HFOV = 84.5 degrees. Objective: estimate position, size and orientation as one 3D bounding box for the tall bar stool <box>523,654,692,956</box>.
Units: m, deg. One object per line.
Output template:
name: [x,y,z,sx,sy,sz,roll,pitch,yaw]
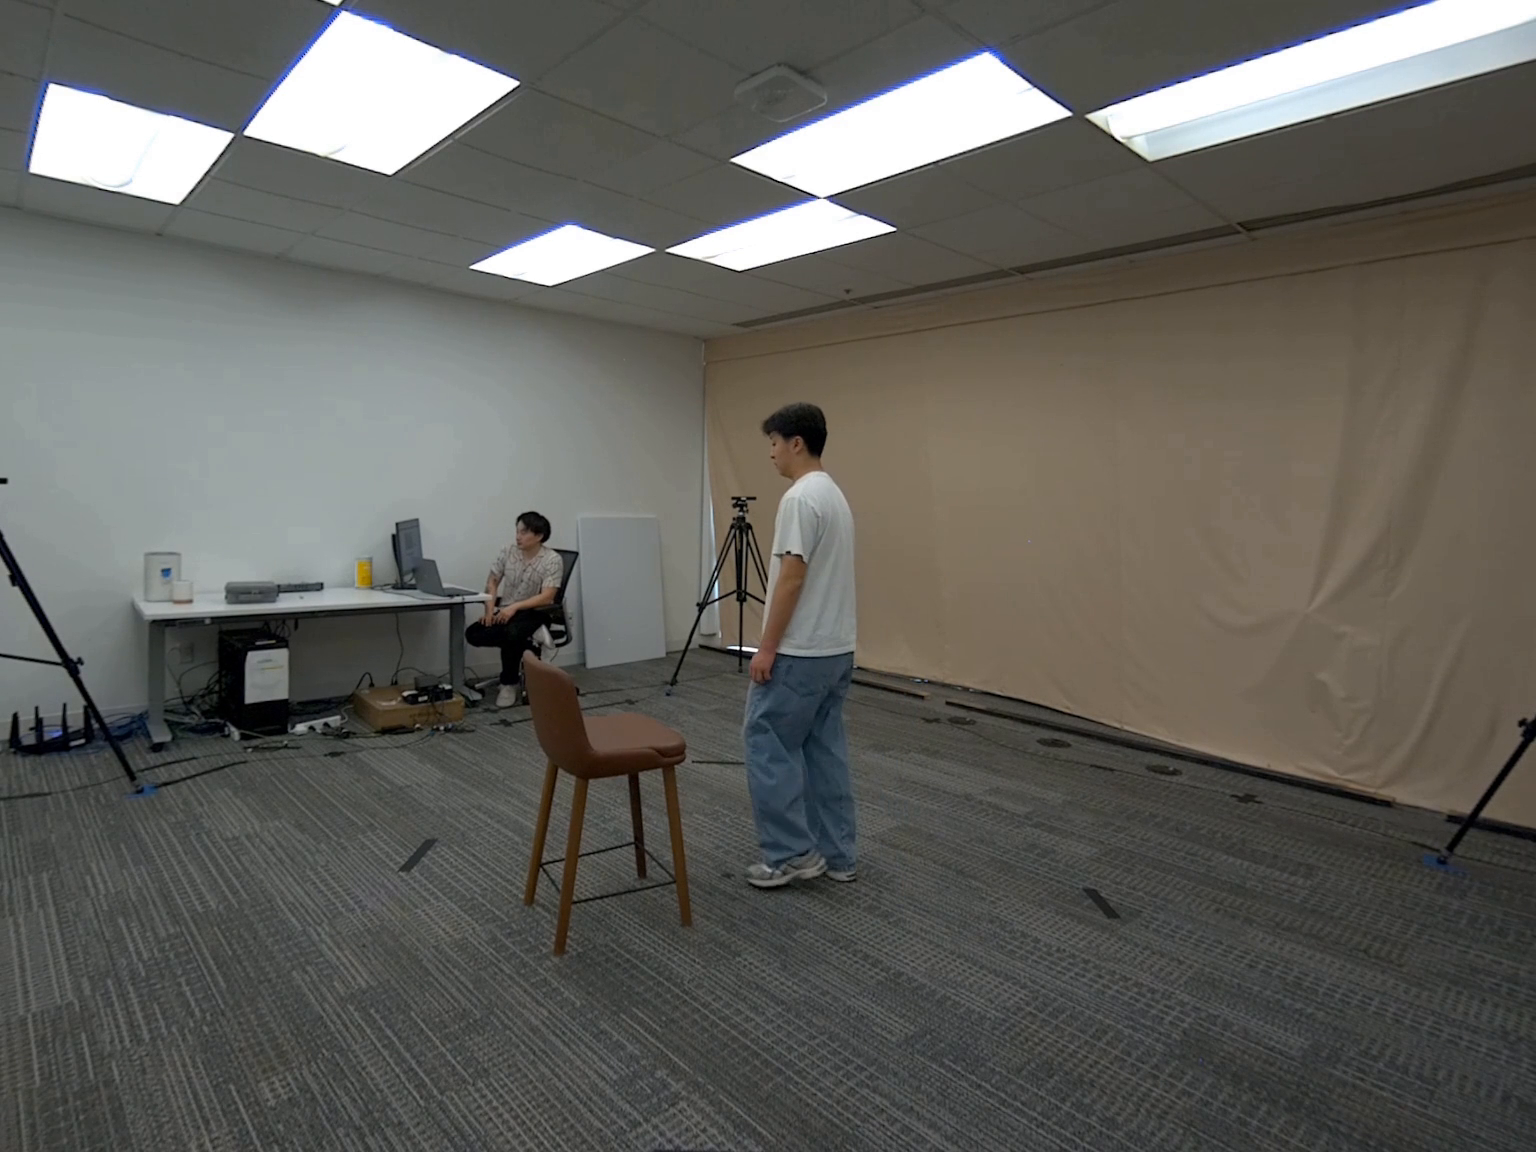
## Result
tall bar stool: [-0.541,0.691,2.773,0.458,0.887,0.467,-3,5,-30]
